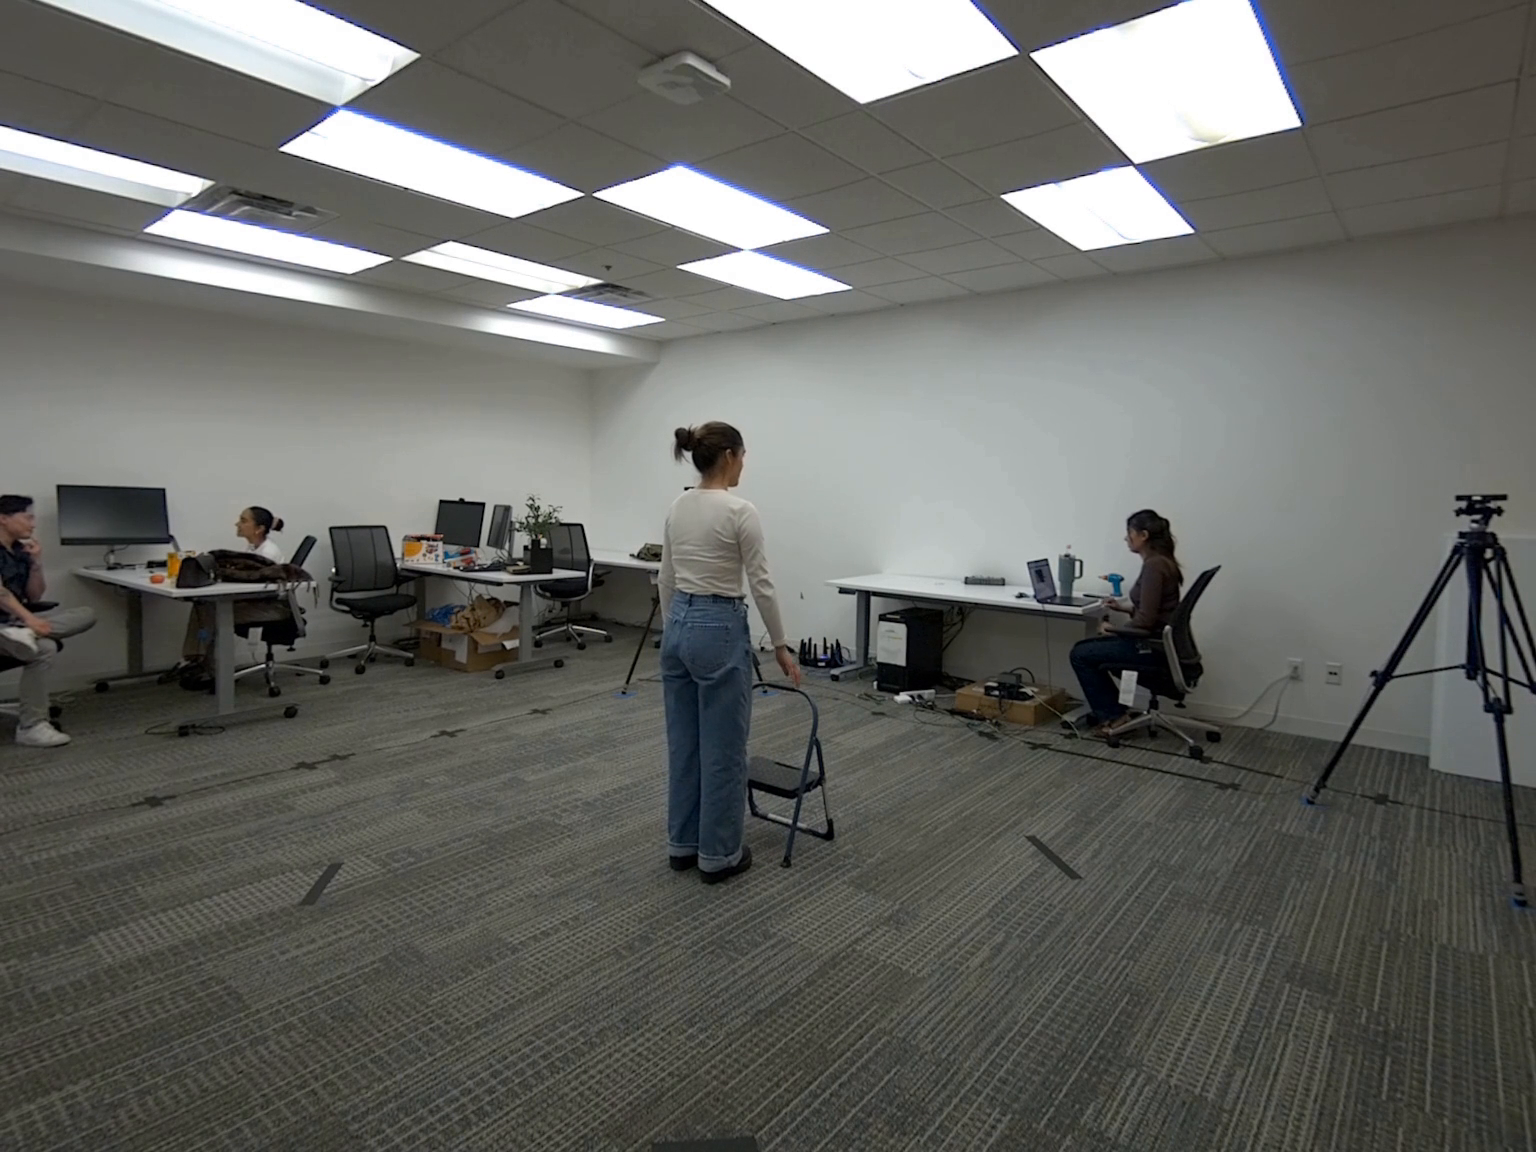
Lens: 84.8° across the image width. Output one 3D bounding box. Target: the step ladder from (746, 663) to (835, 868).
[{"bbox_3d":[-0.001,0.738,3.371,0.445,0.604,0.339,4,5,38],"label":"step ladder"}]
